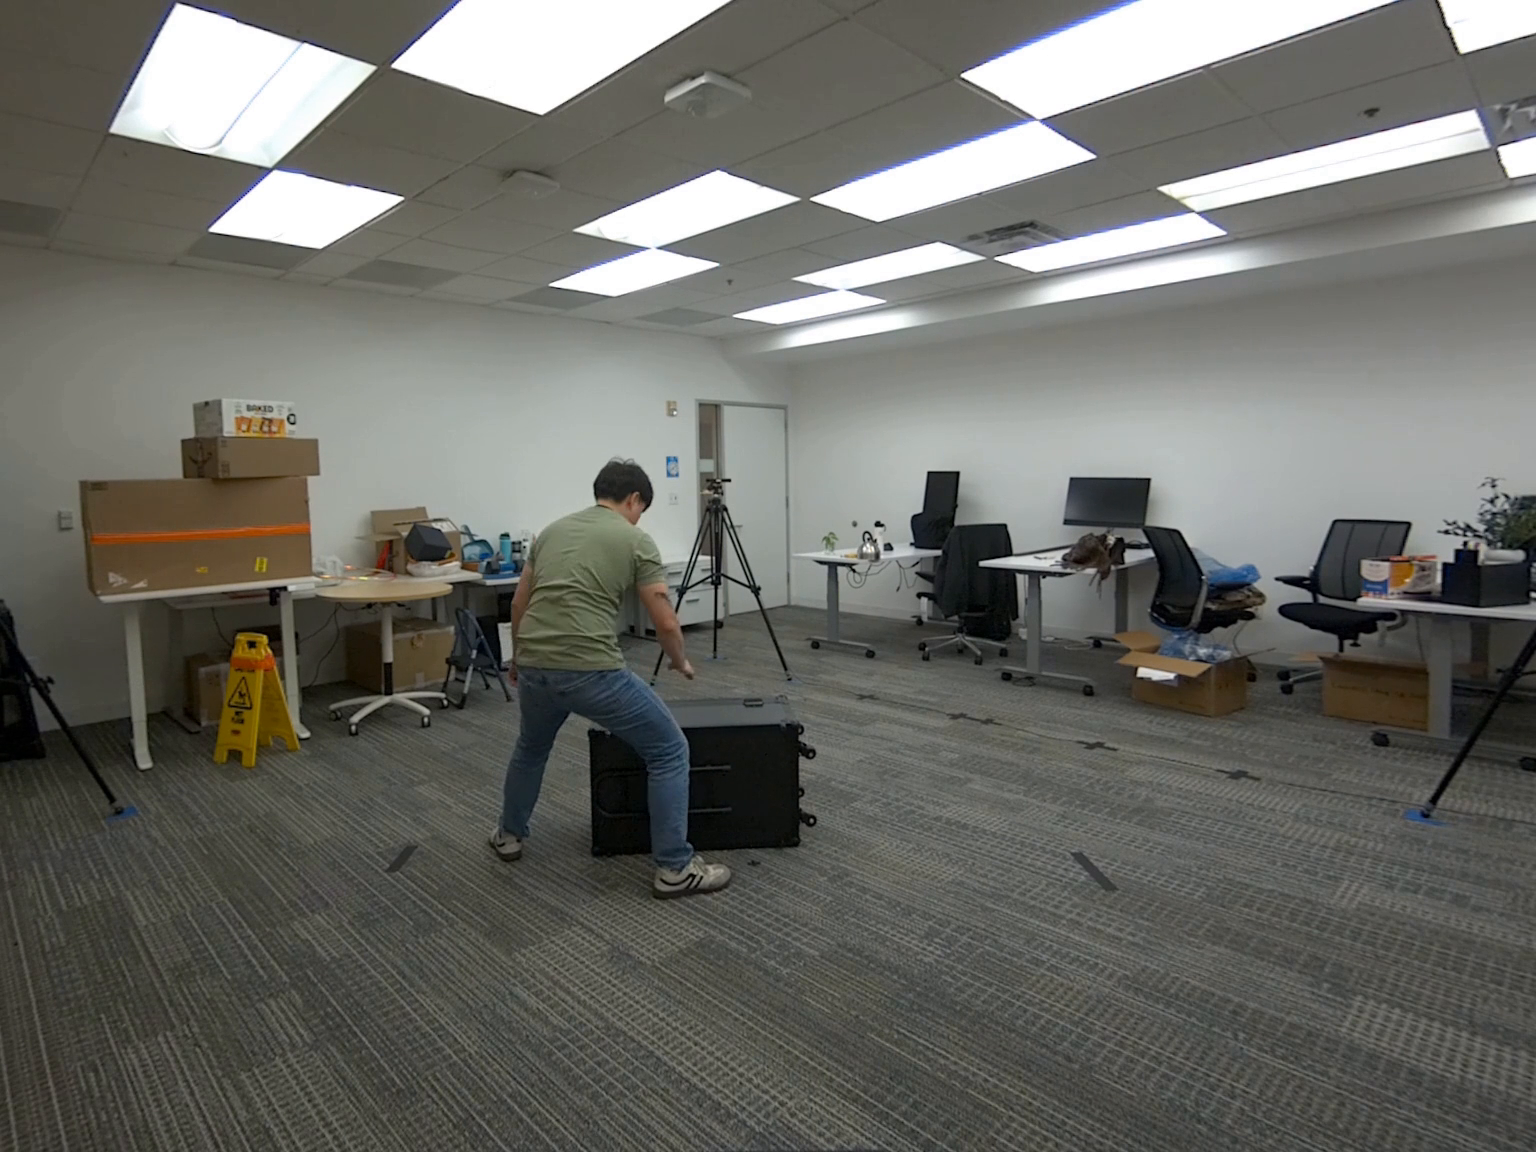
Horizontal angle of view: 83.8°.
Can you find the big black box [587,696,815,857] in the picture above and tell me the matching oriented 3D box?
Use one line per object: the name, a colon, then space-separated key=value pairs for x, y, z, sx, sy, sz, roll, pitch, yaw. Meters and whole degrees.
big black box: x=-0.257 y=0.761 z=3.348 sx=0.857 sy=0.518 sz=0.401 roll=-2 pitch=7 yaw=-5
